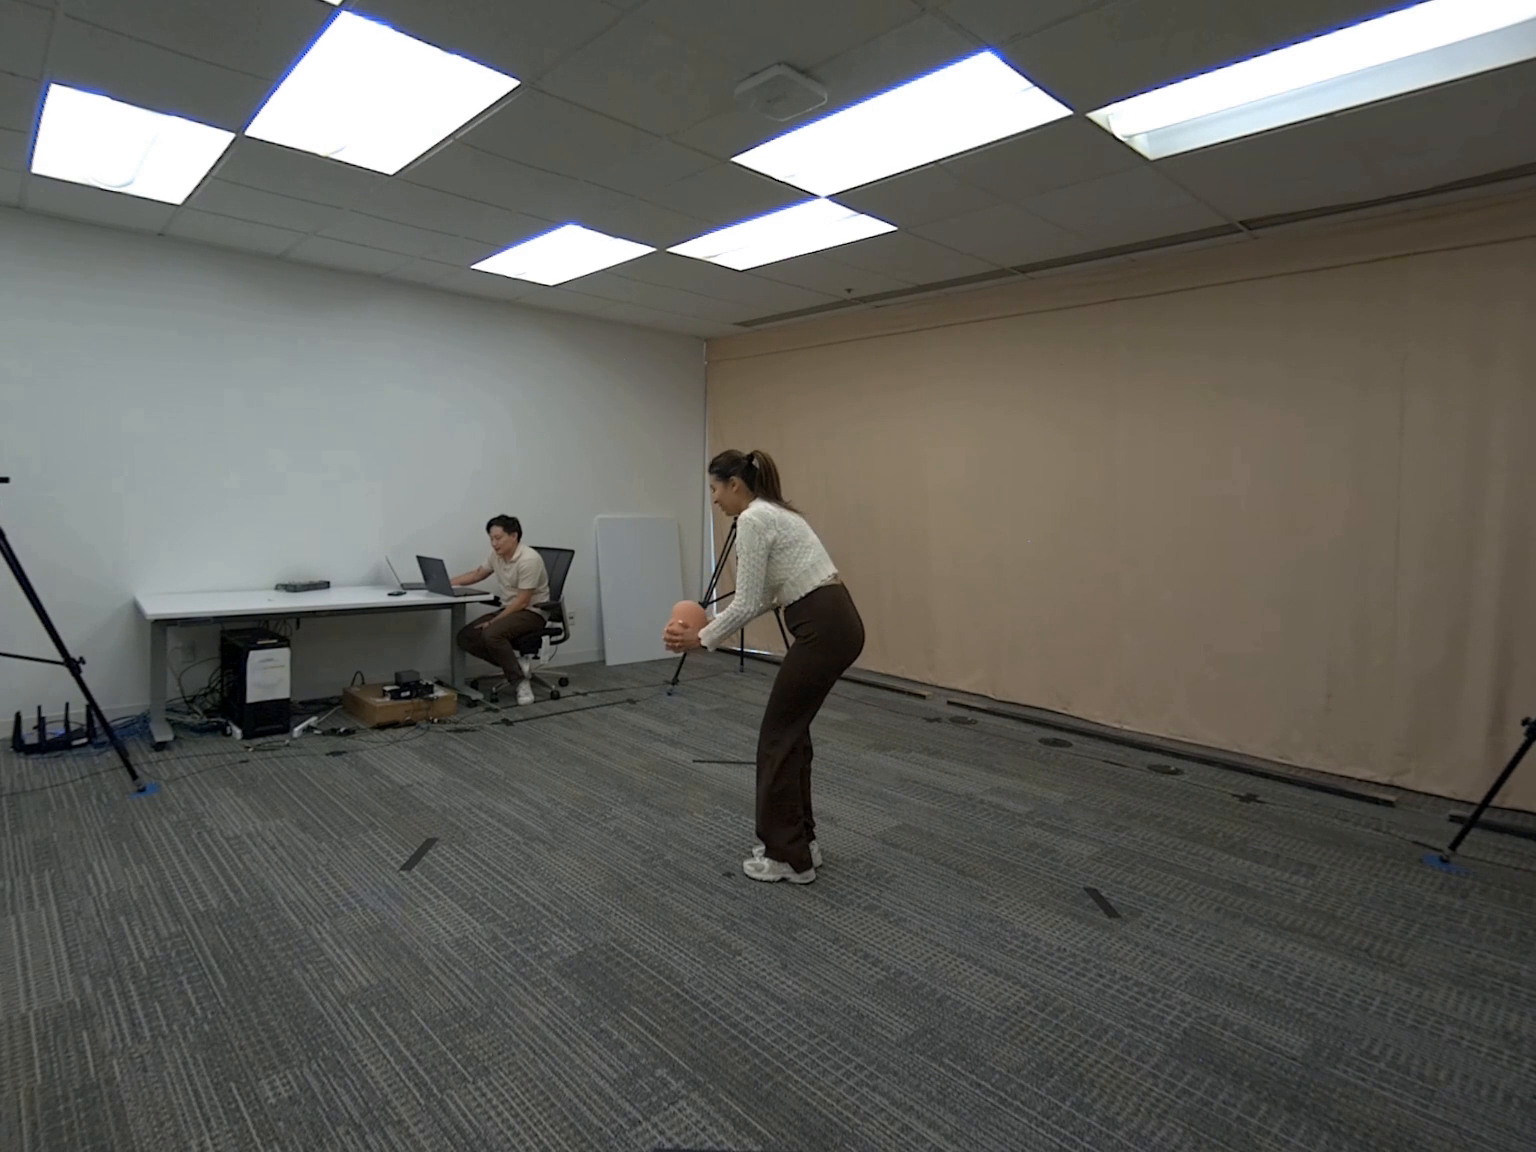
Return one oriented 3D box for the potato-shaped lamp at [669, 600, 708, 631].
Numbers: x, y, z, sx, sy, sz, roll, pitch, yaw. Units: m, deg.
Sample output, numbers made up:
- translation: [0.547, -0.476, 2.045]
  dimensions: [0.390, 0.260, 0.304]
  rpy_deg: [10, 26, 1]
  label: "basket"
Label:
- translation: [-0.320, 0.198, 3.254]
  dimensions: [0.173, 0.198, 0.163]
  rpy_deg: [2, -2, 9]
  label: "potato-shaped lamp"
